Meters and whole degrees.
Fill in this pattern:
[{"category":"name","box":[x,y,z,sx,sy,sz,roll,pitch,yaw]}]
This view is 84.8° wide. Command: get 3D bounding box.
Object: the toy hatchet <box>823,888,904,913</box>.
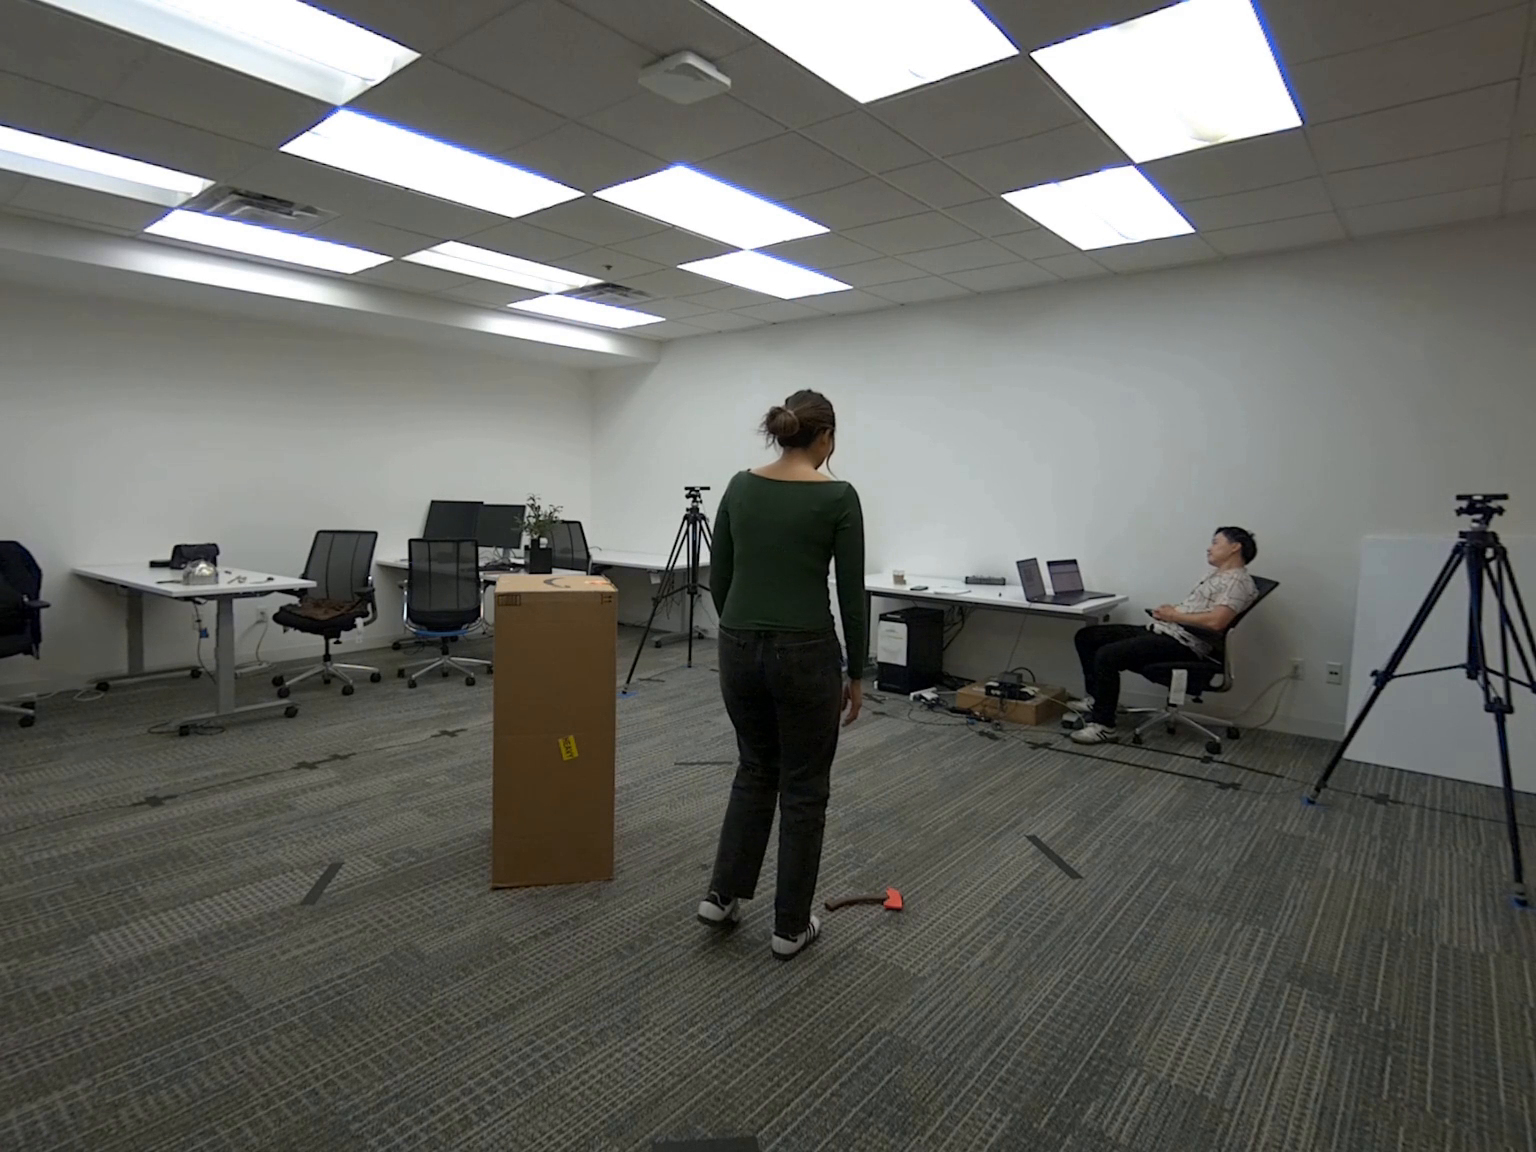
[{"category":"toy hatchet","box":[0.322,1.088,2.834,0.264,0.029,0.135,-3,8,-26]}]
